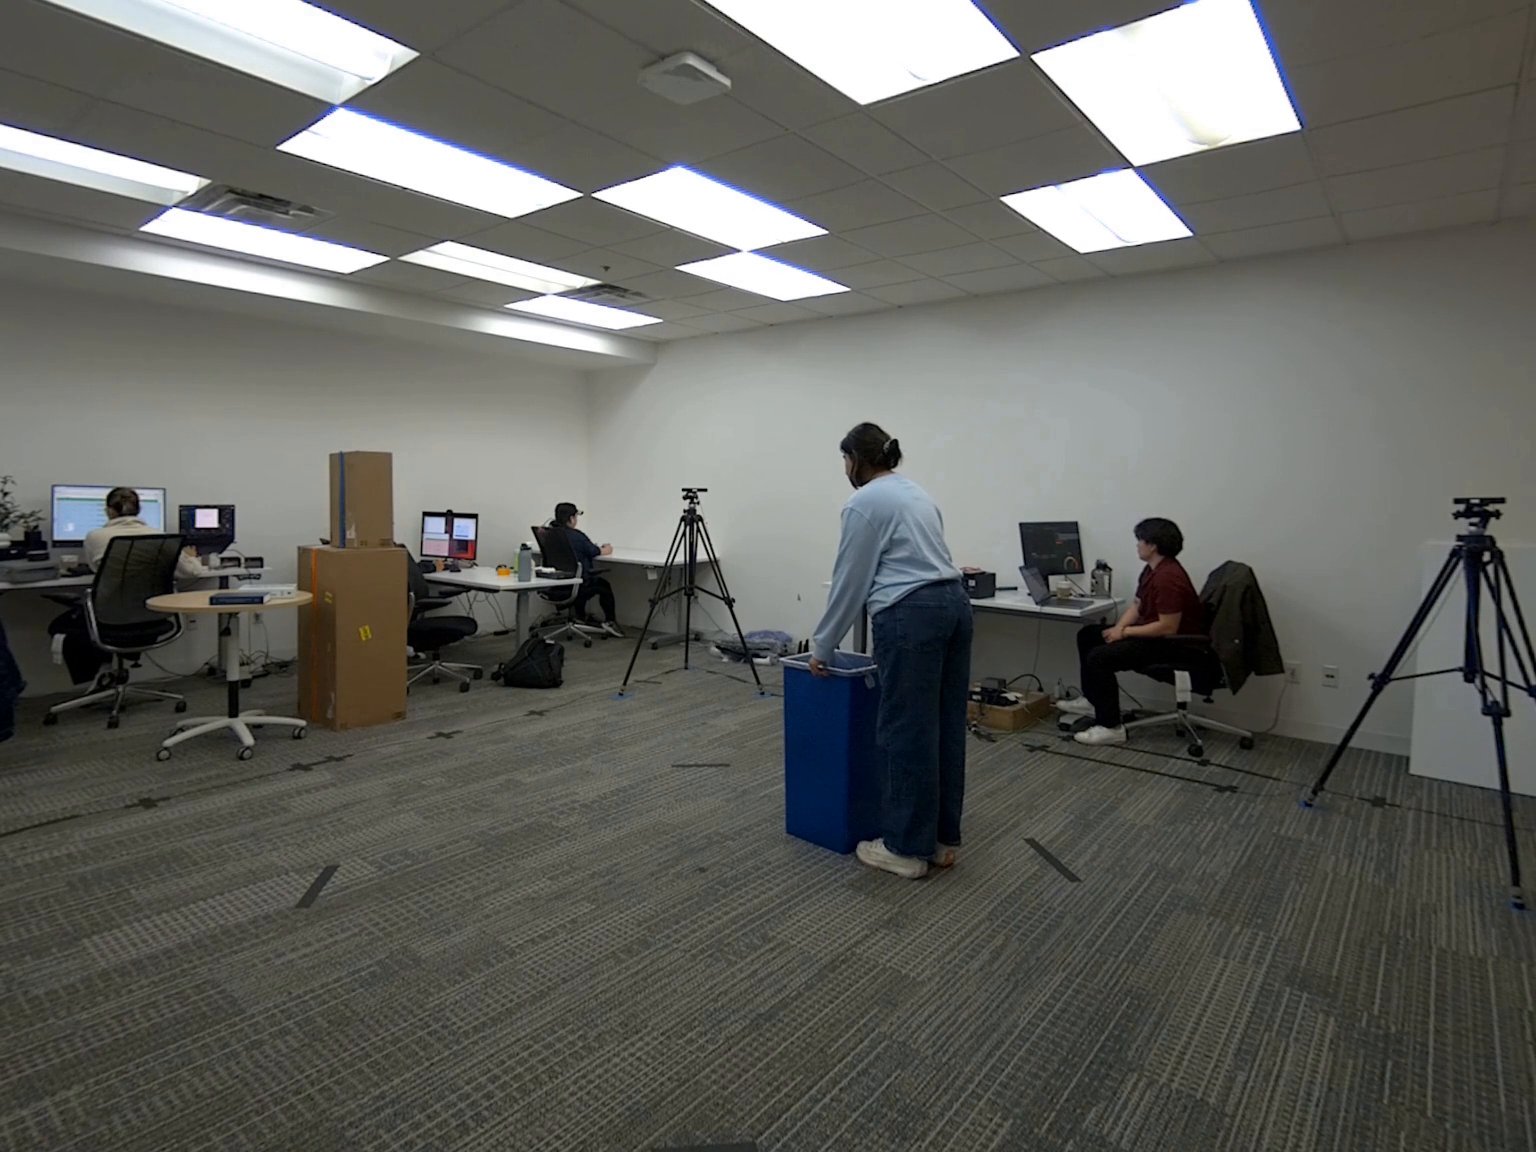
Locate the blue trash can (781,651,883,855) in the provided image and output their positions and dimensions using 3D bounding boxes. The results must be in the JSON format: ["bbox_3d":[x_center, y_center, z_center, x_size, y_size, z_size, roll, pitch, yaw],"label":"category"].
[{"bbox_3d":[0.271,0.685,3.453,0.387,0.712,0.366,4,3,42],"label":"blue trash can"}]
